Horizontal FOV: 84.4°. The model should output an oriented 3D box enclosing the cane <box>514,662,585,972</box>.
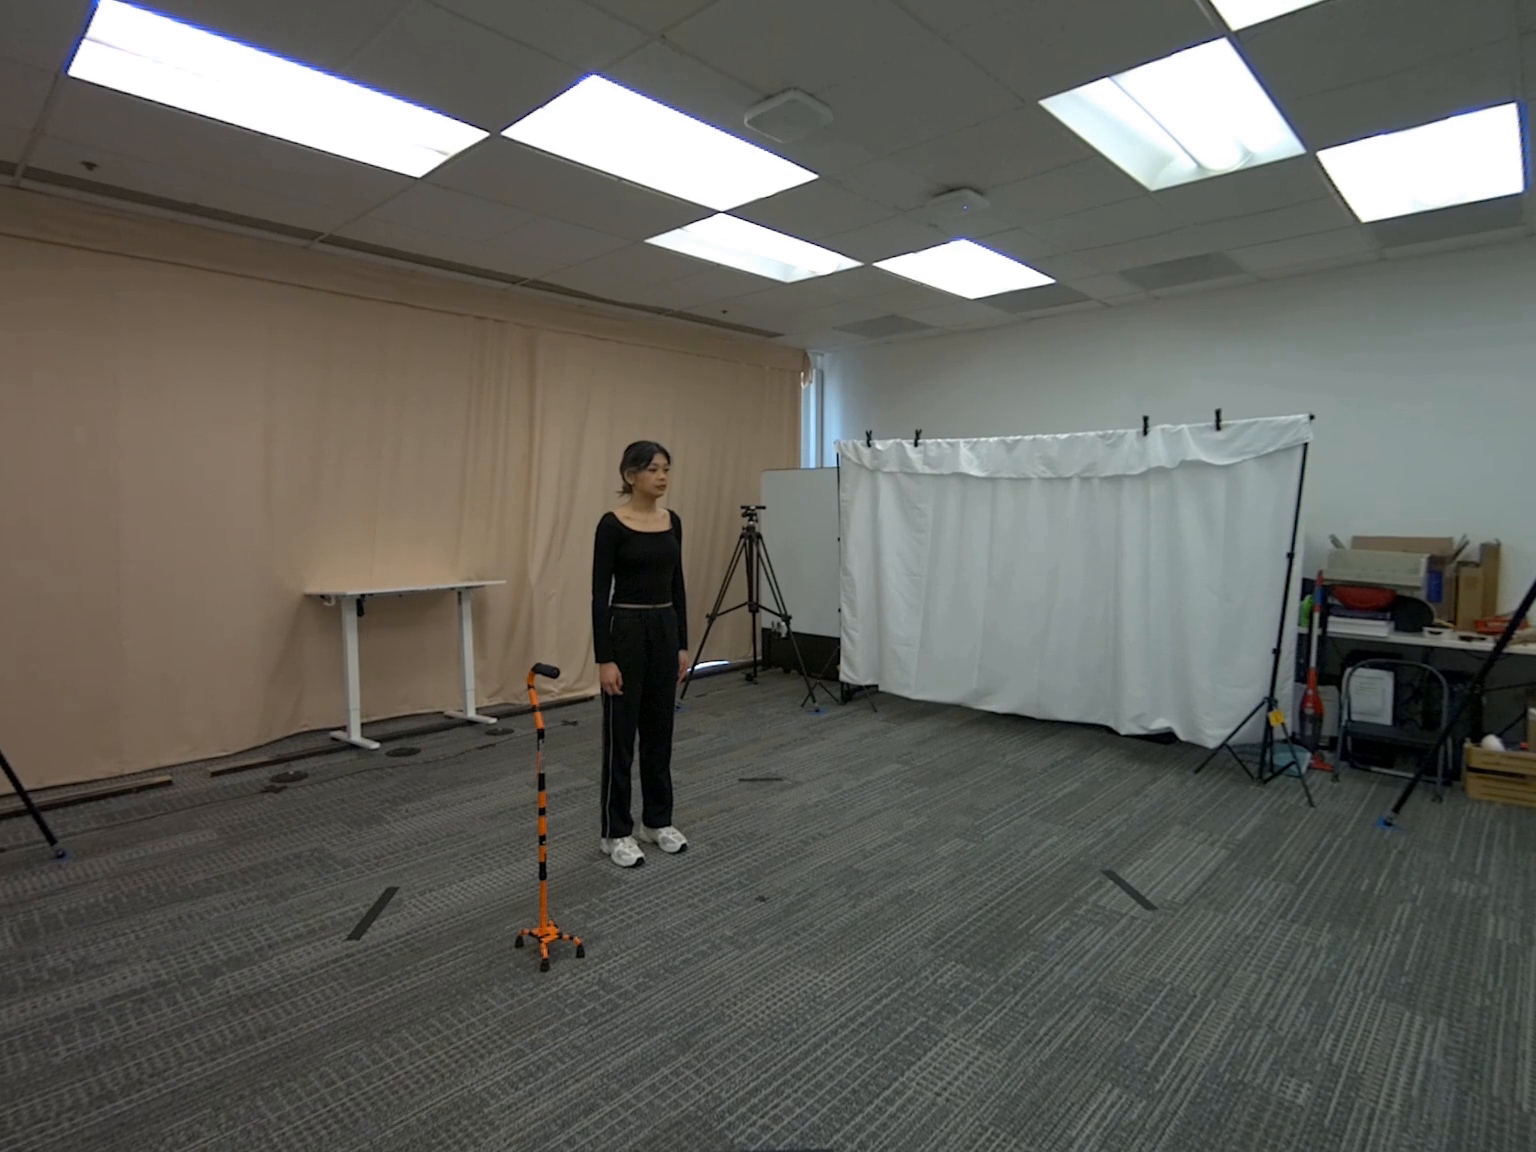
[{"bbox_3d":[-0.679,0.718,2.622,0.147,0.906,0.213,-3,3,-41],"label":"cane"}]
